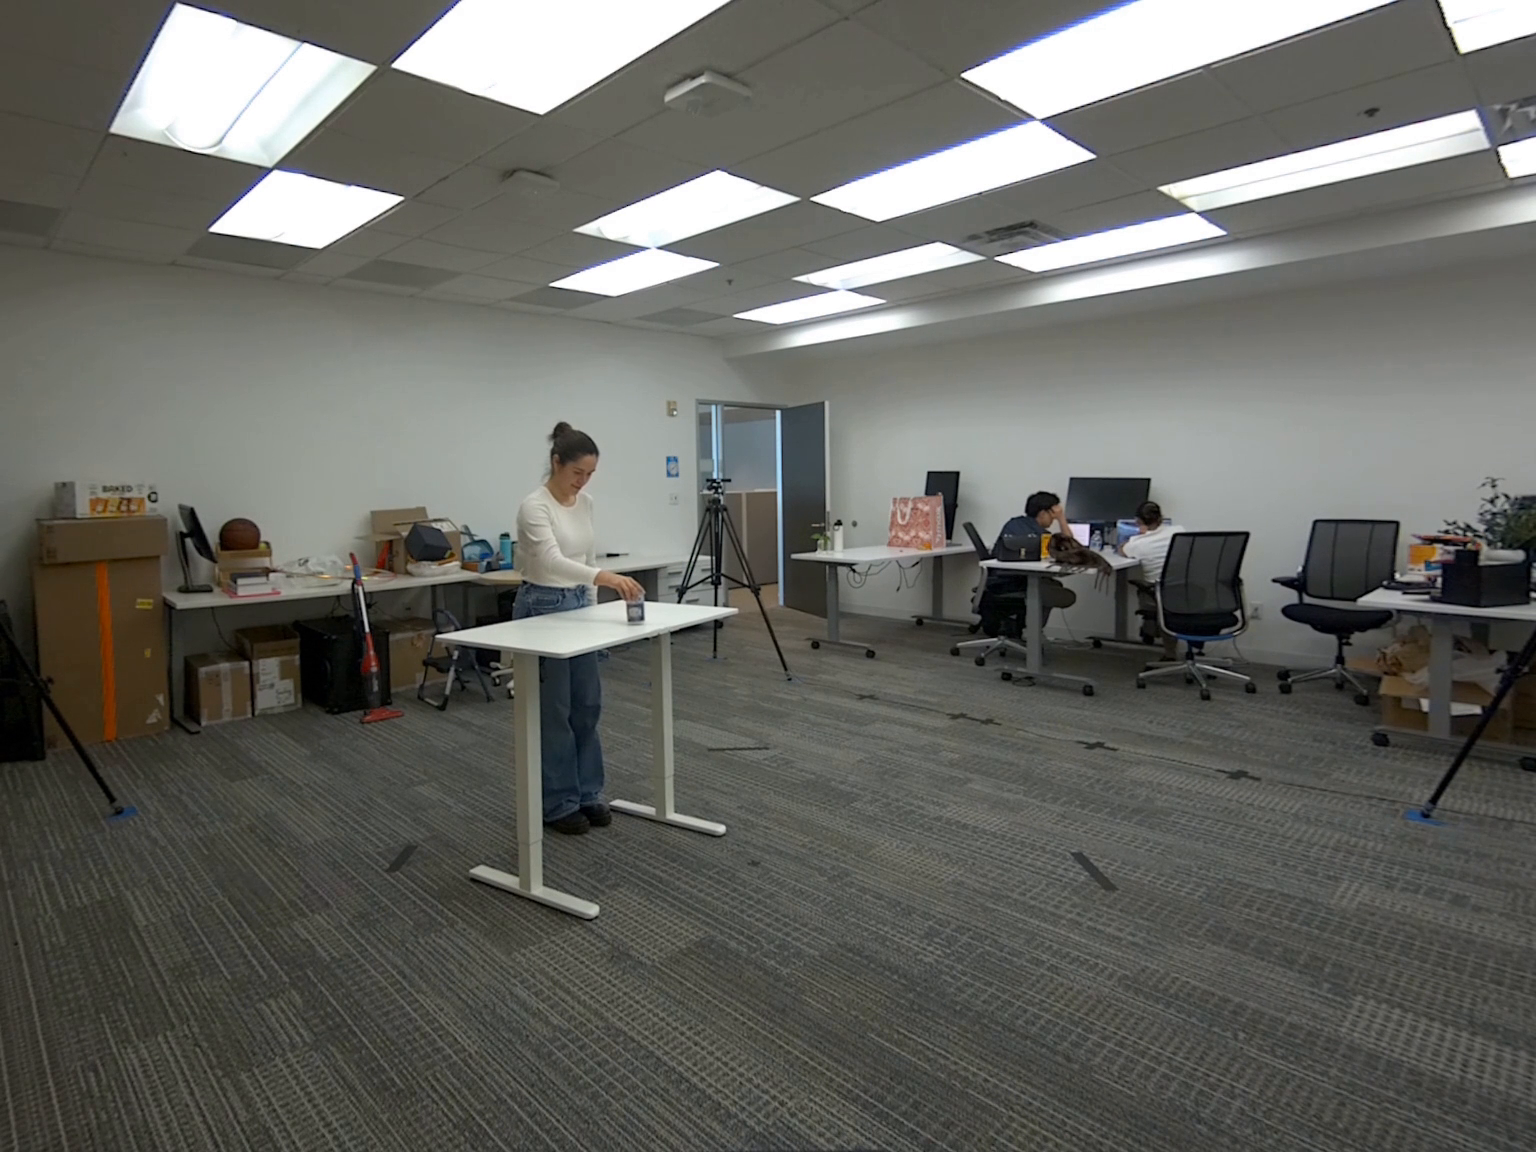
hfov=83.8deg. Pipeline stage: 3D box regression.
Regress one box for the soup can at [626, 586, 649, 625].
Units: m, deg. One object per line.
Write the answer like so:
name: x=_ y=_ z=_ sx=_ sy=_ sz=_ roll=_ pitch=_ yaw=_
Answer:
soup can: x=-0.470 y=0.103 z=3.067 sx=0.067 sy=0.121 sz=0.067 roll=-5 pitch=3 yaw=-1
